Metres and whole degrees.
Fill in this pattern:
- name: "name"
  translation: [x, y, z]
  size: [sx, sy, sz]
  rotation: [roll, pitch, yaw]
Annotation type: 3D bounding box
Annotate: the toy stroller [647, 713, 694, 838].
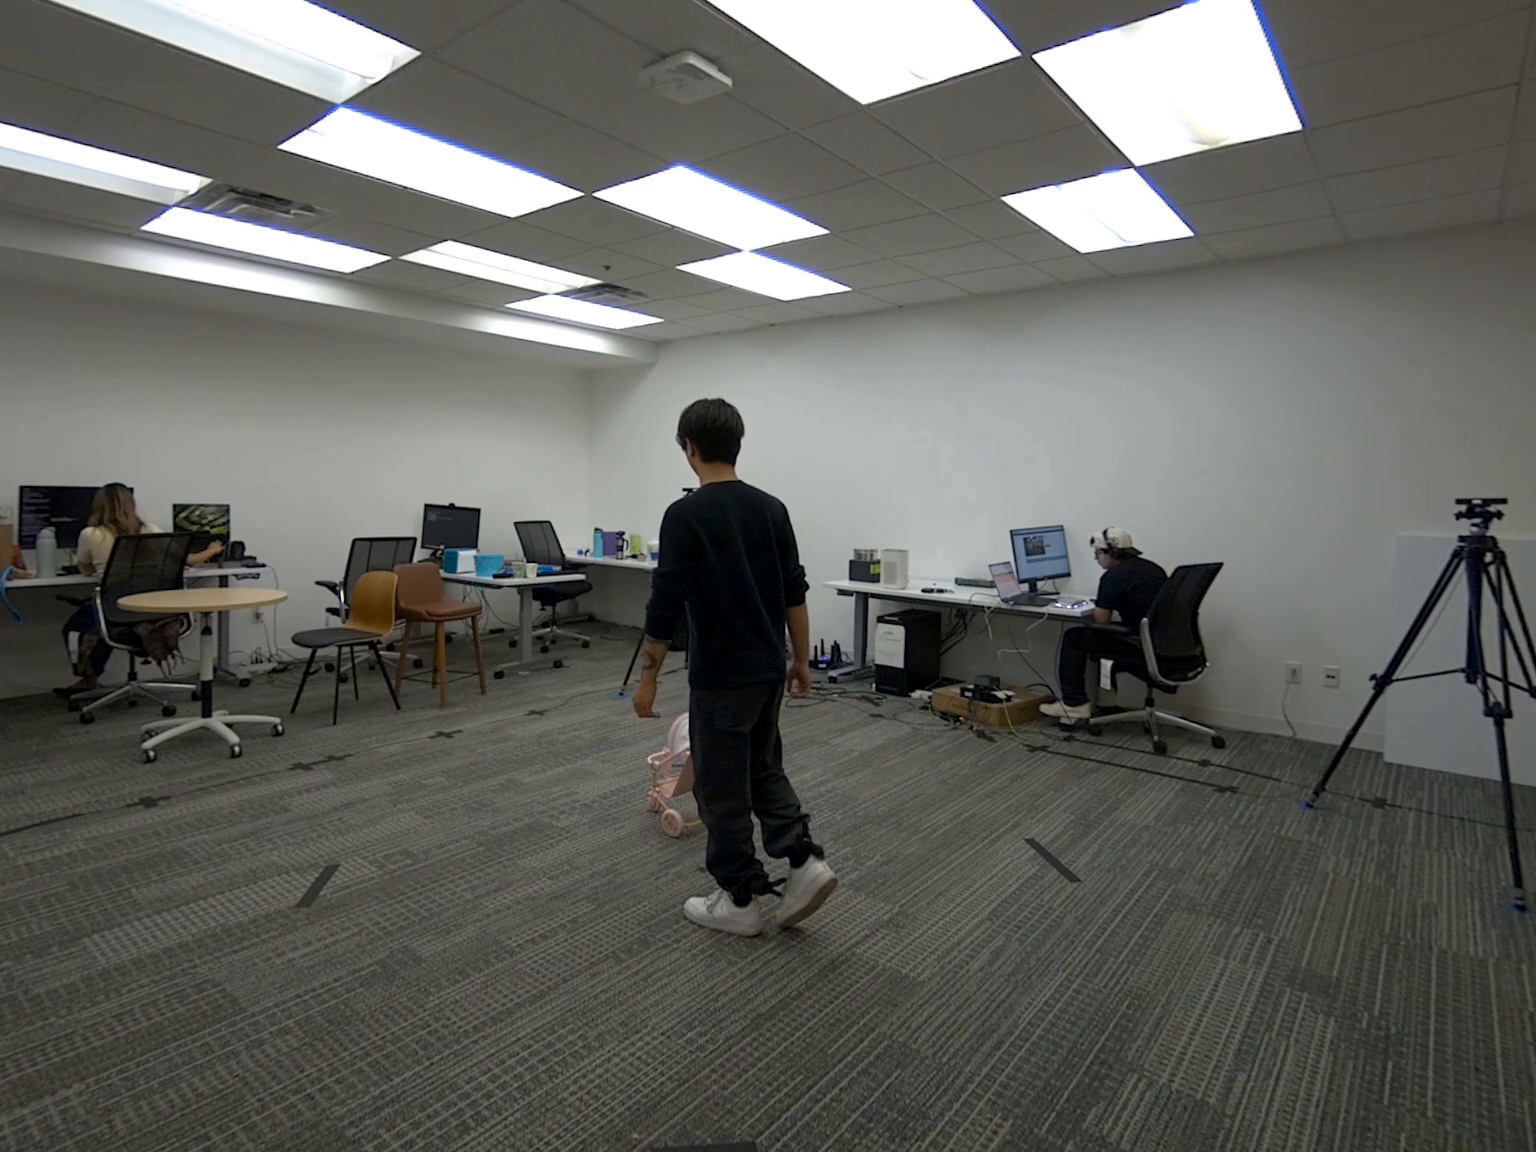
- name: "toy stroller"
  translation: [-0.357, 0.802, 3.529]
  size: [0.273, 0.529, 0.355]
  rotation: [-2, 19, -44]
